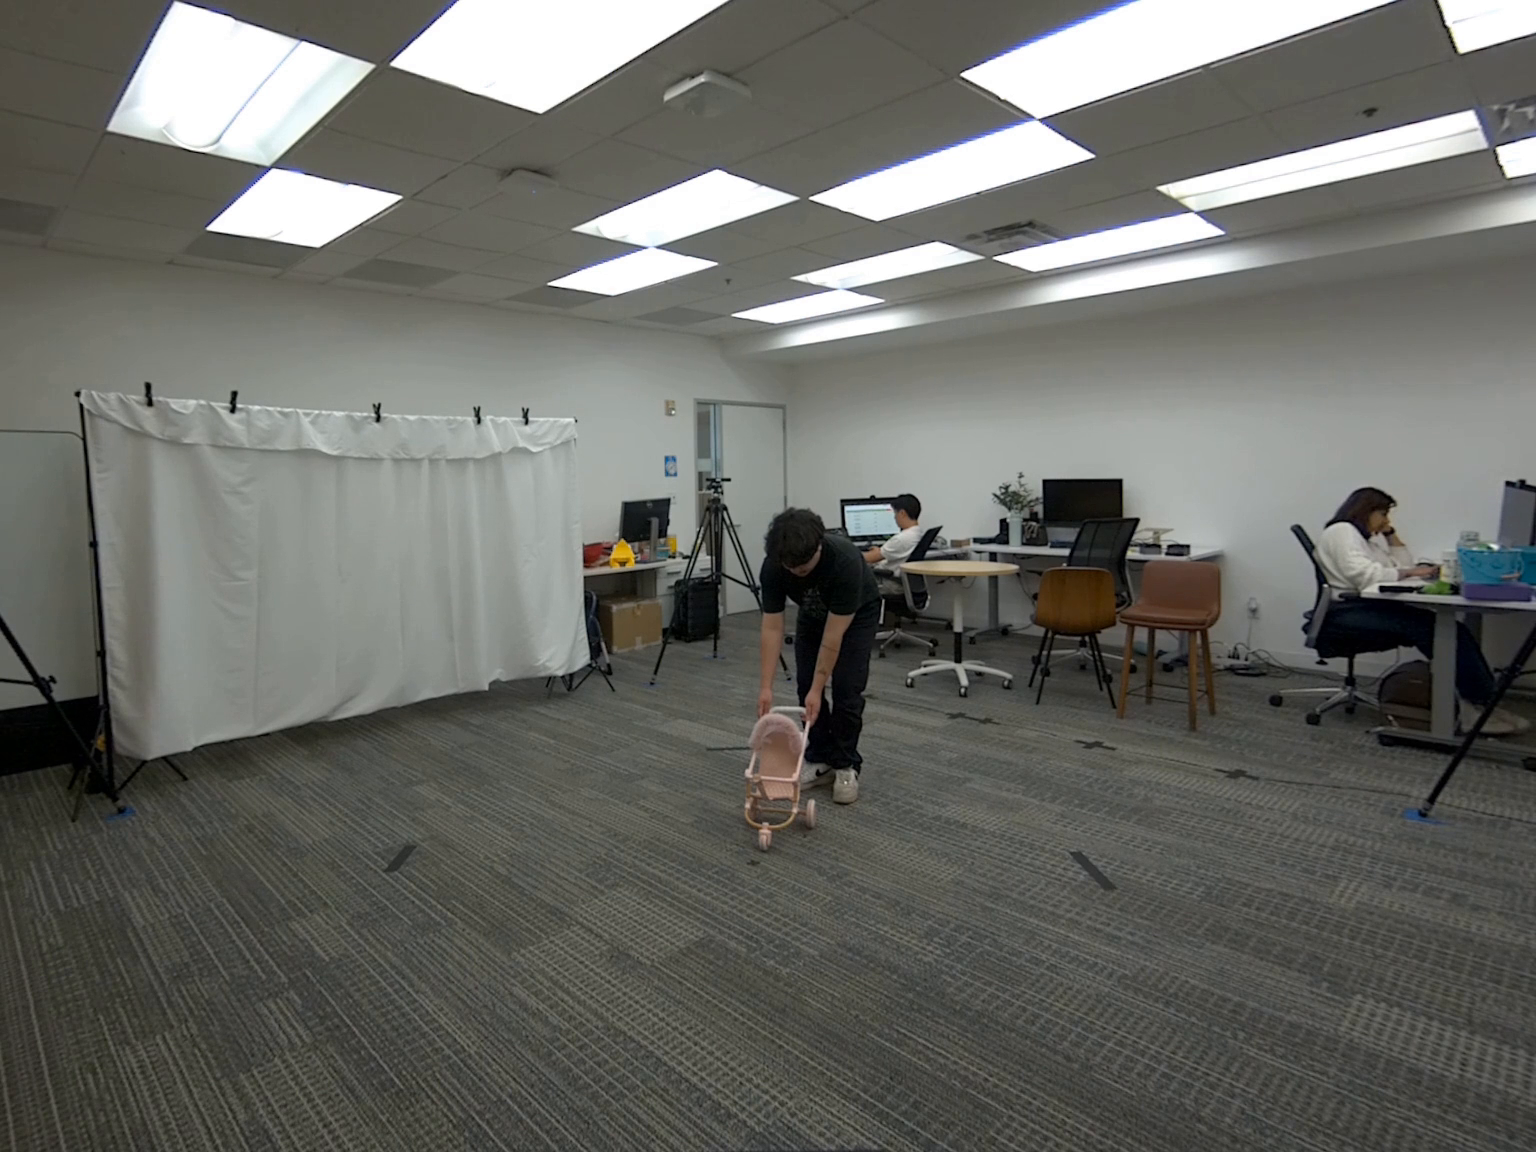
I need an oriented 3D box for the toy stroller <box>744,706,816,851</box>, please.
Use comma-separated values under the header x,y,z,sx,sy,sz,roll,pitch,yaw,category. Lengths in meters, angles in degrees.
x,y,z,sx,sy,sz,roll,pitch,yaw,category
0.031,0.785,3.380,0.287,0.540,0.332,0,-11,20,toy stroller
